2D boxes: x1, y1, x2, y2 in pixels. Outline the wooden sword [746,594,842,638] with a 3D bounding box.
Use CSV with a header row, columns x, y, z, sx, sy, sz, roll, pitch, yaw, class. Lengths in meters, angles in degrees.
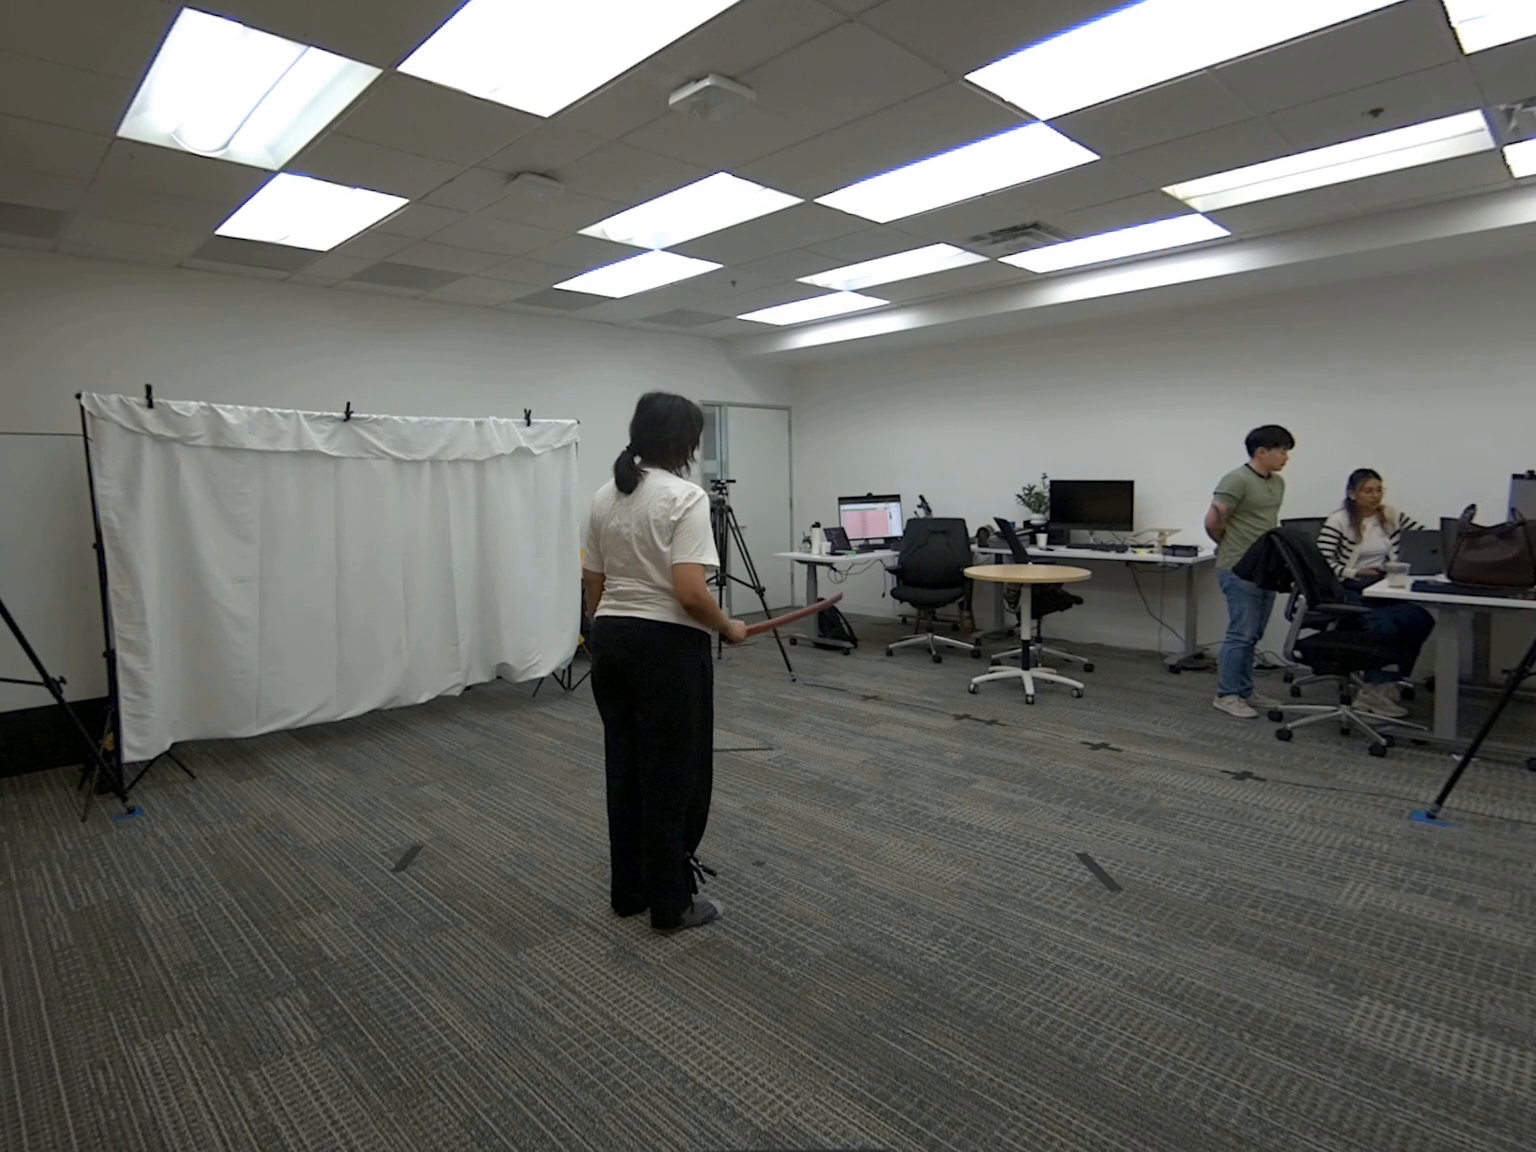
x,y,z,sx,sy,sz,roll,pitch,yaw,class
0.096,0.153,3.167,0.052,0.024,1.006,45,23,14,wooden sword
